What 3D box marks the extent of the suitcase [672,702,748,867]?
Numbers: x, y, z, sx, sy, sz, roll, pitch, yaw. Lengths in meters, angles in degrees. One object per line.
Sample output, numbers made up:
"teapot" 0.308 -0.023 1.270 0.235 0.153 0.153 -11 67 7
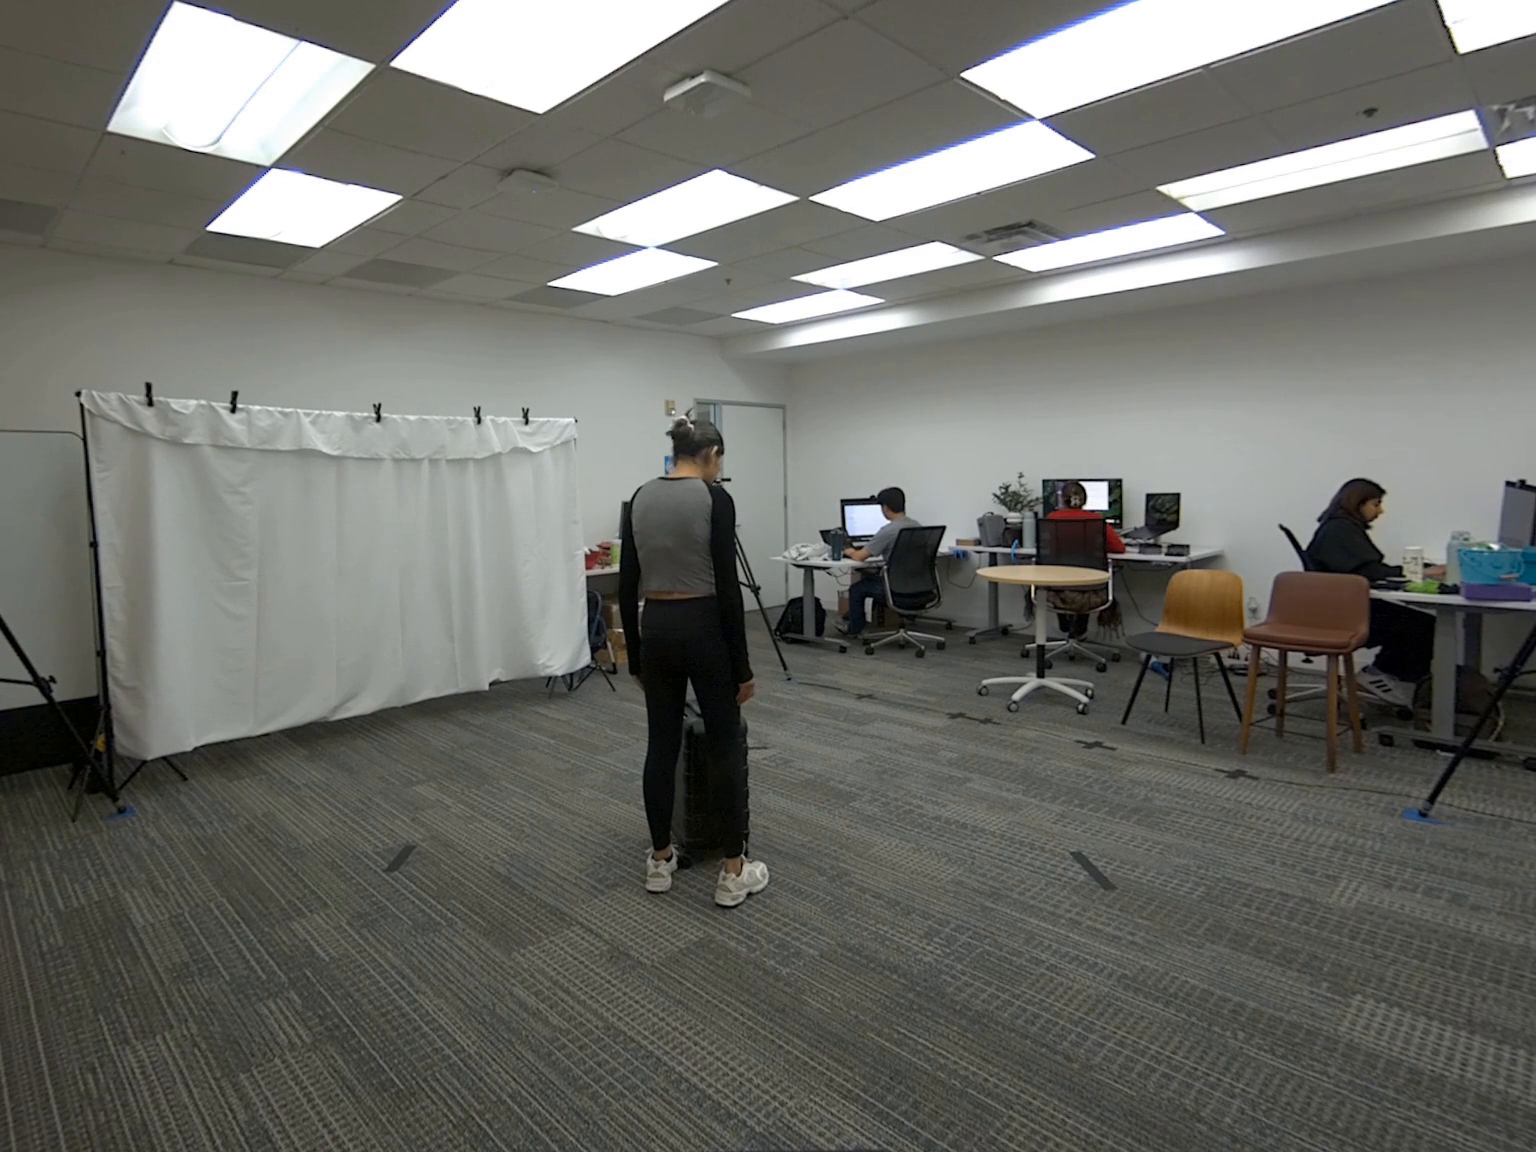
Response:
"suitcase" -0.241 0.751 3.242 0.244 0.547 0.383 -1 4 -20
